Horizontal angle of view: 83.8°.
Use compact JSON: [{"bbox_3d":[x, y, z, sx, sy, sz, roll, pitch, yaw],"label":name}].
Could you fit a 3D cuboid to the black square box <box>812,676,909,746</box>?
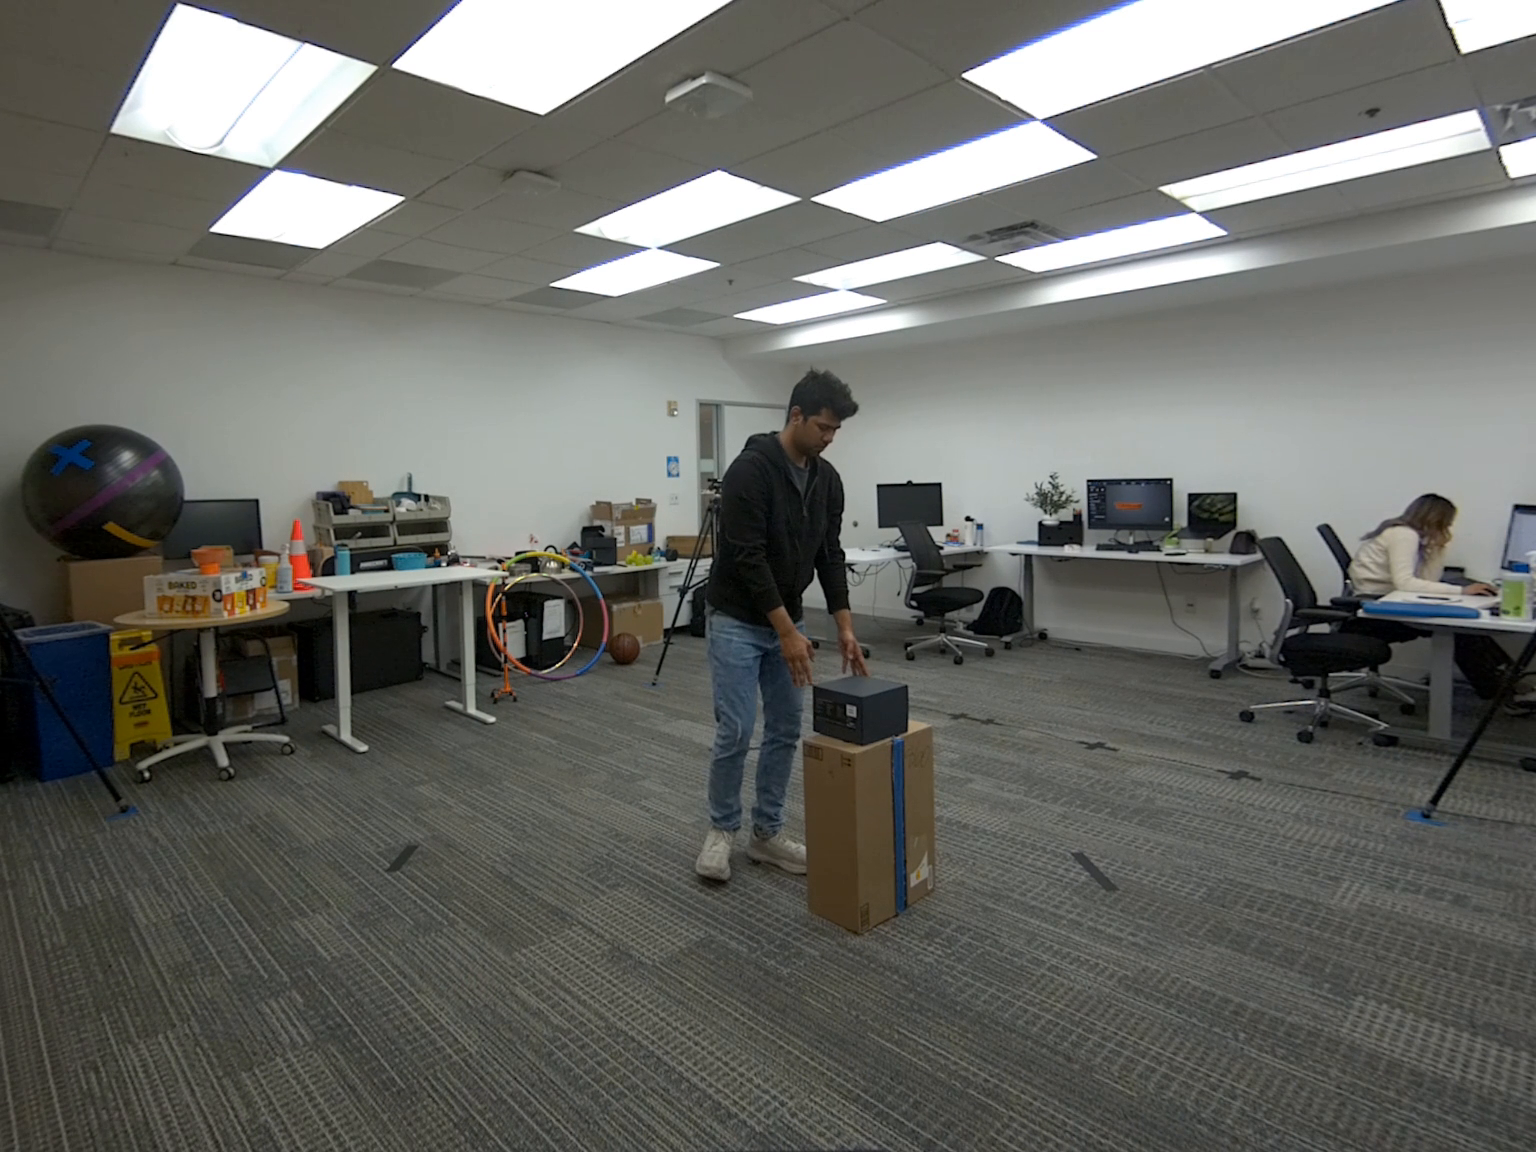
[{"bbox_3d":[0.306,0.430,2.780,0.222,0.155,0.223,-5,6,-41],"label":"black square box"}]
